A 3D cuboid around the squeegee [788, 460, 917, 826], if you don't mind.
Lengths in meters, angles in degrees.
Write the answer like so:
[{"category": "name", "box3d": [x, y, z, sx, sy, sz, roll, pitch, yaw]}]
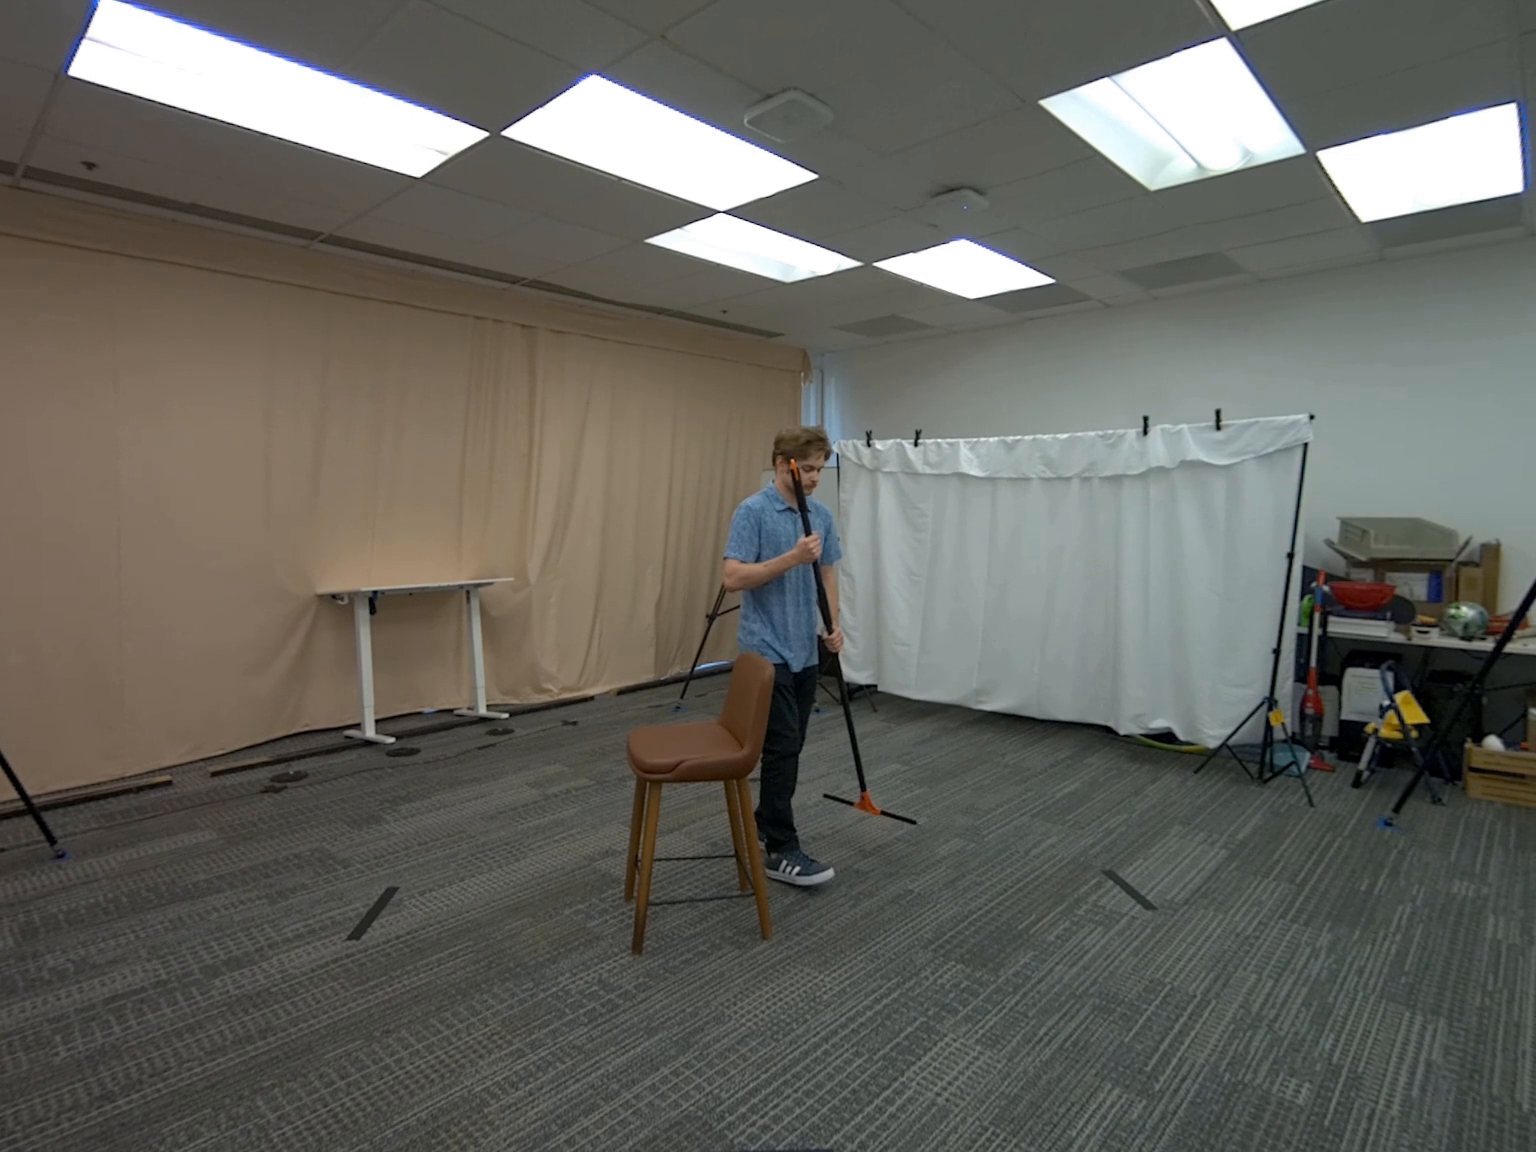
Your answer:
[{"category": "squeegee", "box3d": [0.260, 0.298, 3.212, 0.452, 1.511, 0.052, 5, 28, 43]}]
